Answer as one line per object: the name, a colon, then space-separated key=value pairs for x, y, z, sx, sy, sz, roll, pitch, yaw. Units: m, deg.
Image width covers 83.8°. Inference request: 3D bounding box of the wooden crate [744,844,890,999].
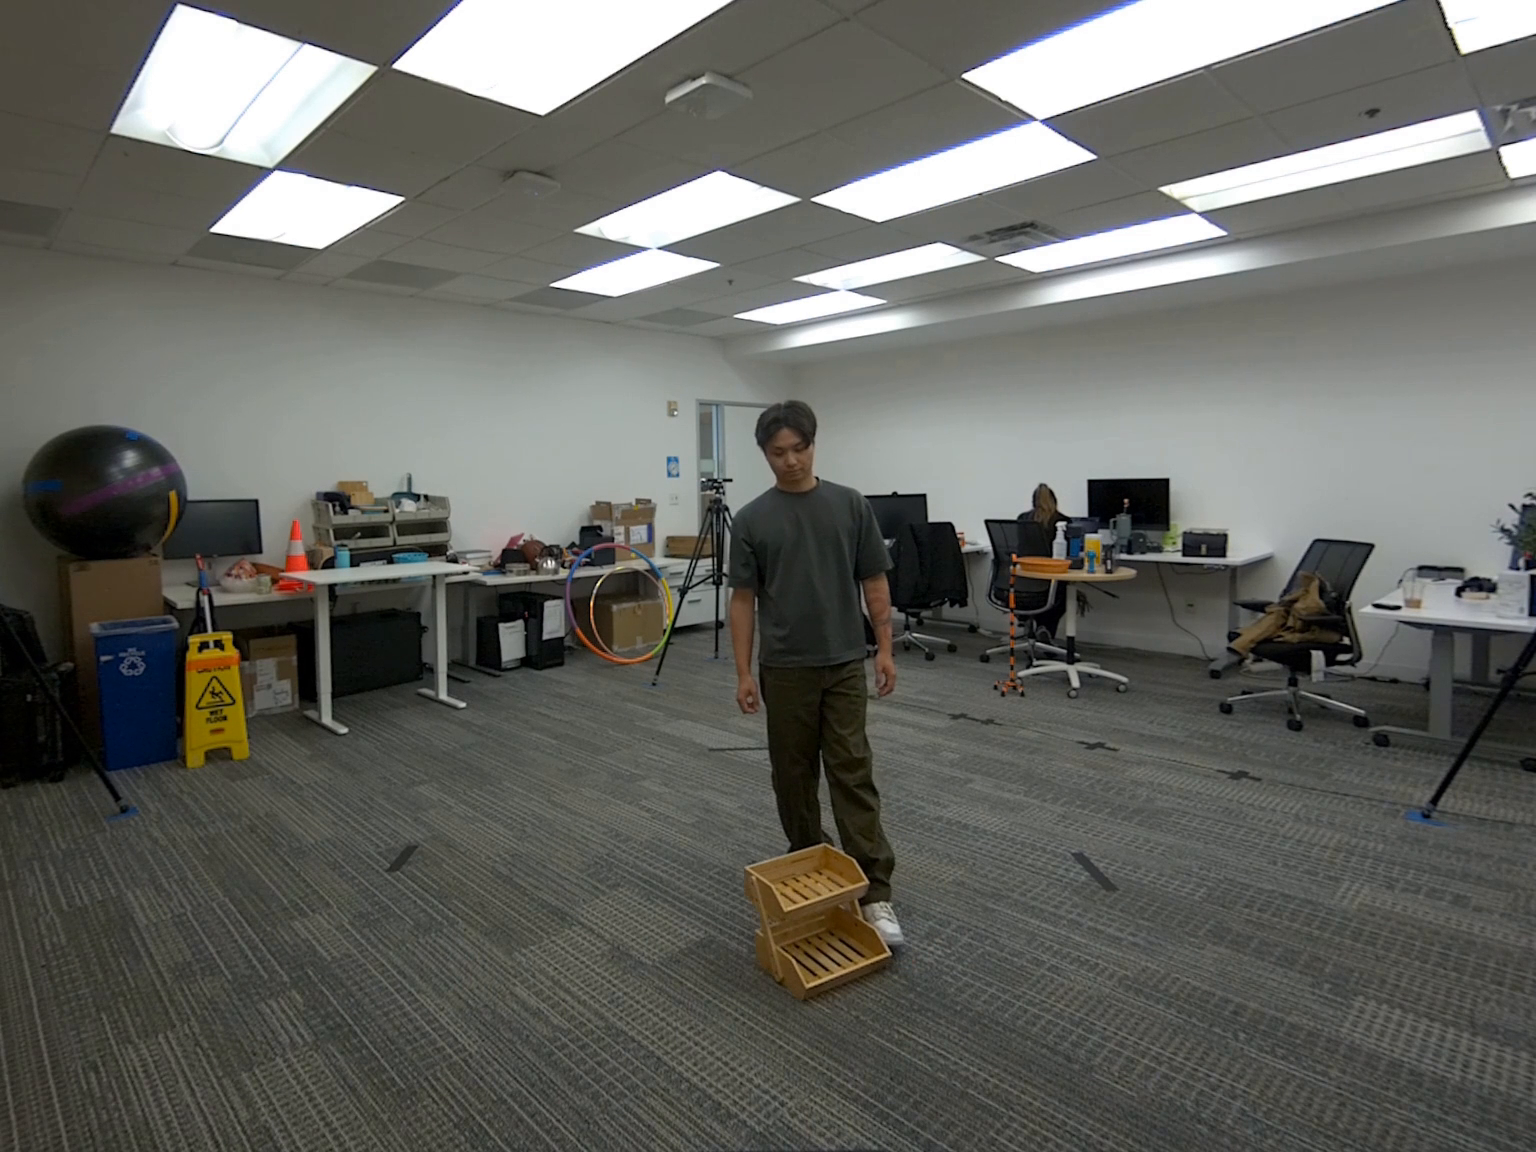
wooden crate: x=0.148 y=0.984 z=2.462 sx=0.316 sy=0.272 sz=0.310 roll=-4 pitch=5 yaw=-33
